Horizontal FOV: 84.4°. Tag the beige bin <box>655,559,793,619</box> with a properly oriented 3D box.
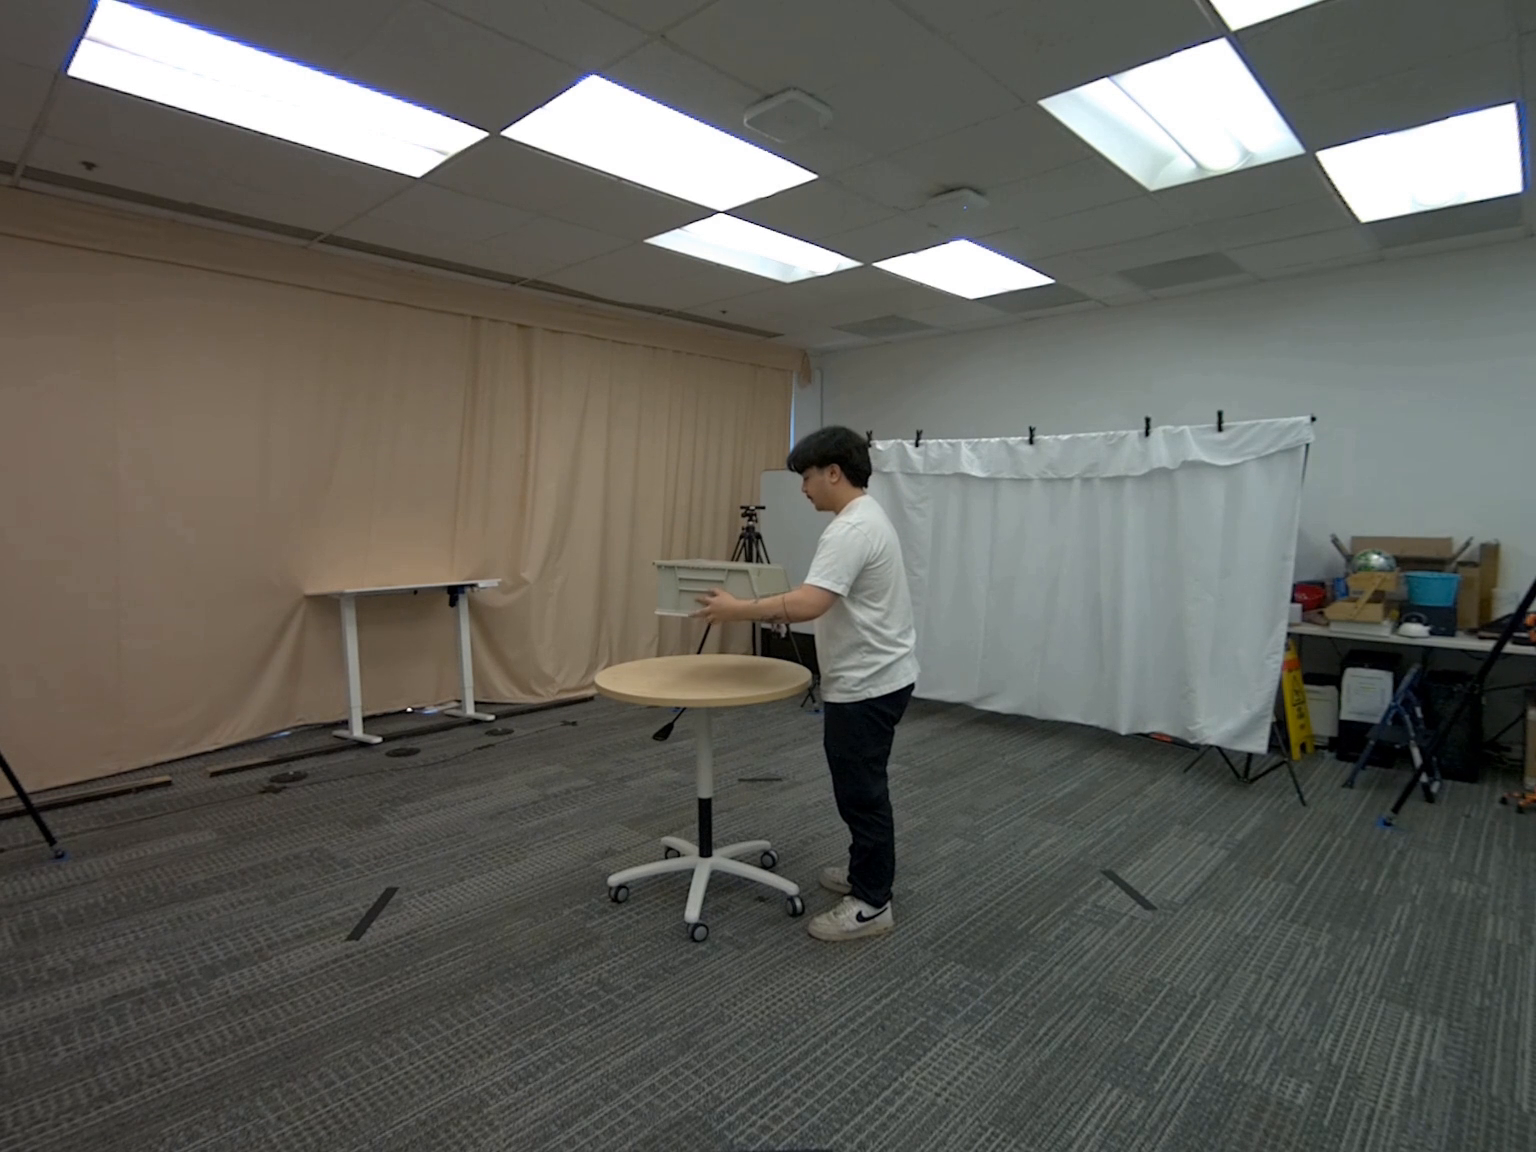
[{"bbox_3d":[-0.152,0.052,2.963,0.385,0.189,0.415,2,3,17],"label":"beige bin"}]
